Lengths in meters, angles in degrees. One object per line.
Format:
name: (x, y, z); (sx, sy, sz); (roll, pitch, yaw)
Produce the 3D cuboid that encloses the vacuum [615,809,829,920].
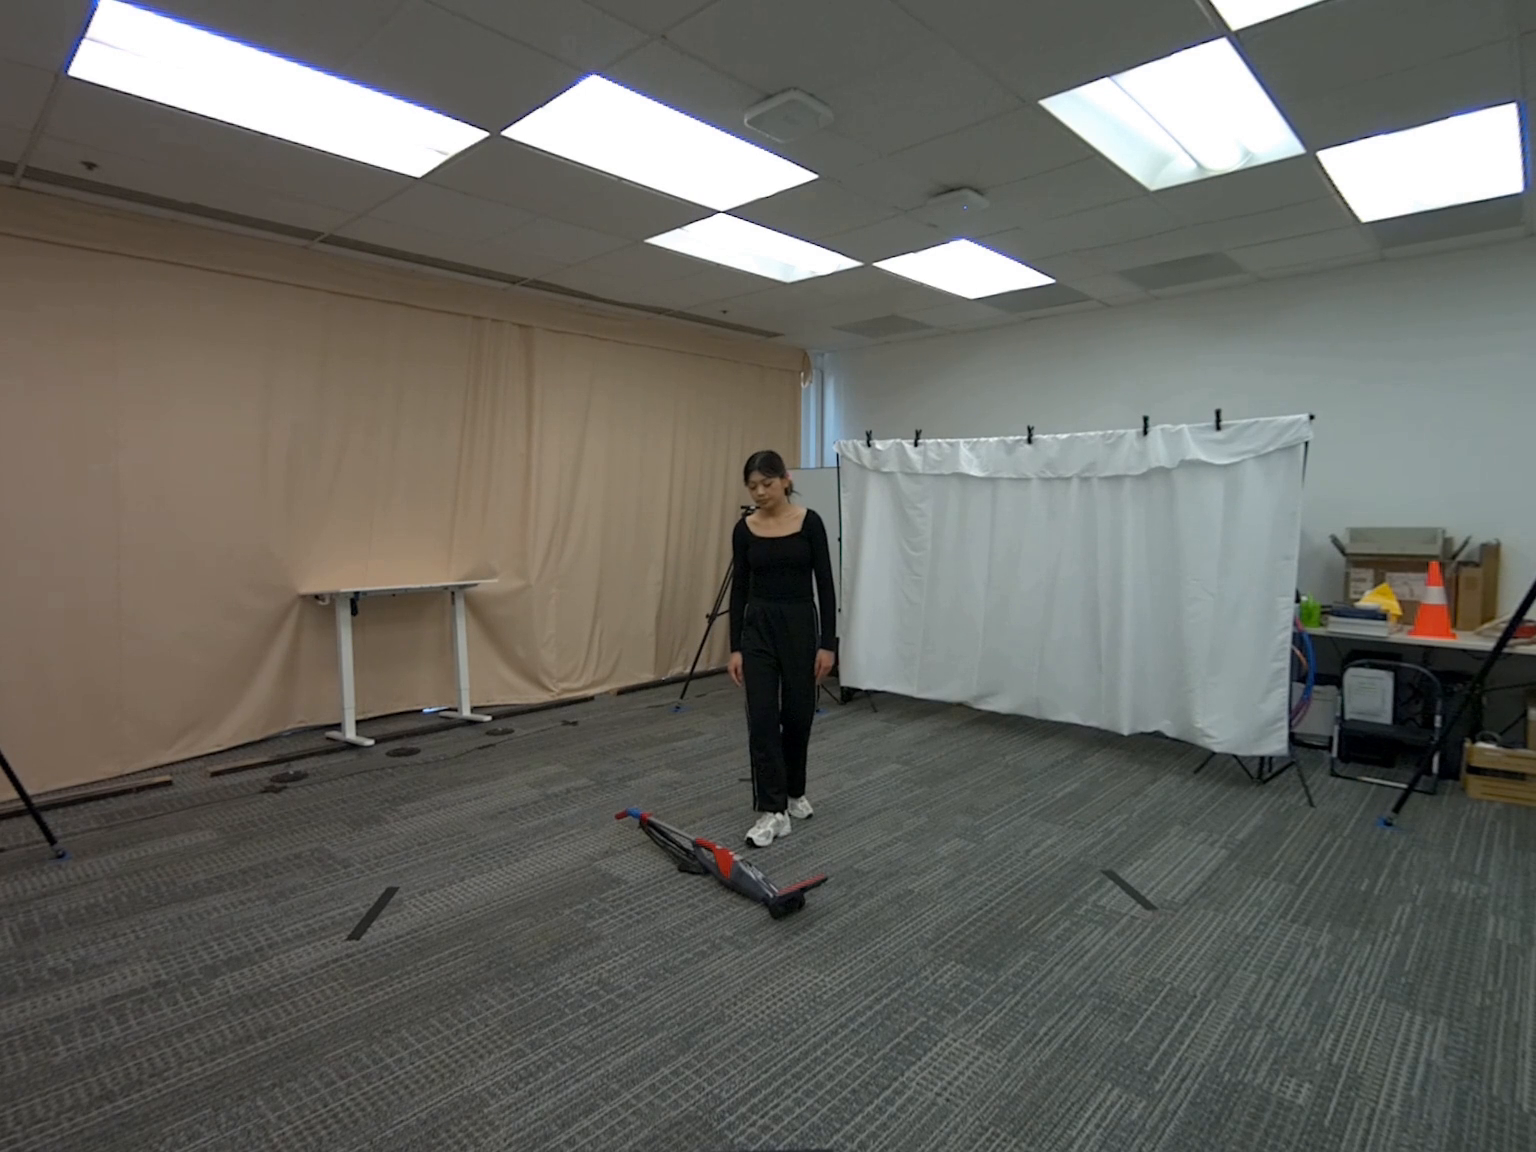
vacuum: (-0.278, 1.065, 3.237); (0.245, 0.144, 1.084); (-2, 4, -42)
